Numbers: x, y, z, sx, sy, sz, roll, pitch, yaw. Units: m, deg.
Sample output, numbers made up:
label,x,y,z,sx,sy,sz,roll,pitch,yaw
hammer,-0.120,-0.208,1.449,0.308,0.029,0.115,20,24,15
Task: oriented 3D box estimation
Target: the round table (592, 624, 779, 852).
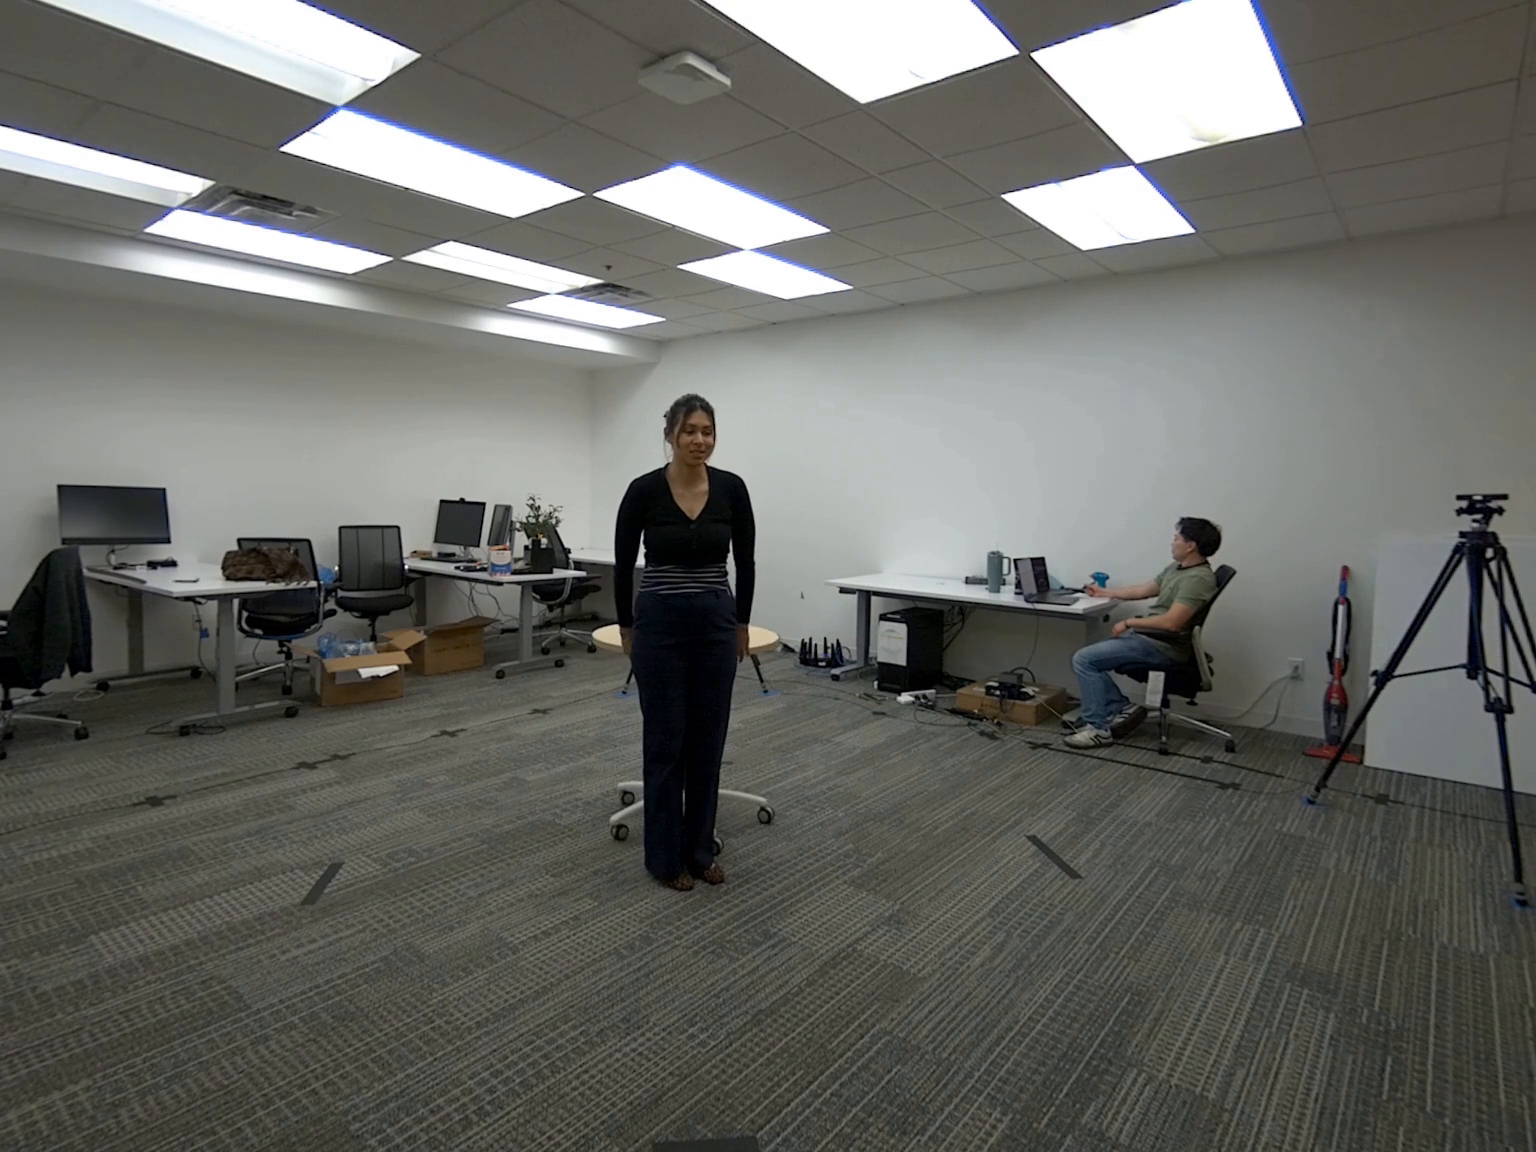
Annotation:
label,x,y,z,sx,sy,sz,roll,pitch,yaw
round table,-0.358,0.629,3.527,0.763,0.792,0.767,1,4,-2
